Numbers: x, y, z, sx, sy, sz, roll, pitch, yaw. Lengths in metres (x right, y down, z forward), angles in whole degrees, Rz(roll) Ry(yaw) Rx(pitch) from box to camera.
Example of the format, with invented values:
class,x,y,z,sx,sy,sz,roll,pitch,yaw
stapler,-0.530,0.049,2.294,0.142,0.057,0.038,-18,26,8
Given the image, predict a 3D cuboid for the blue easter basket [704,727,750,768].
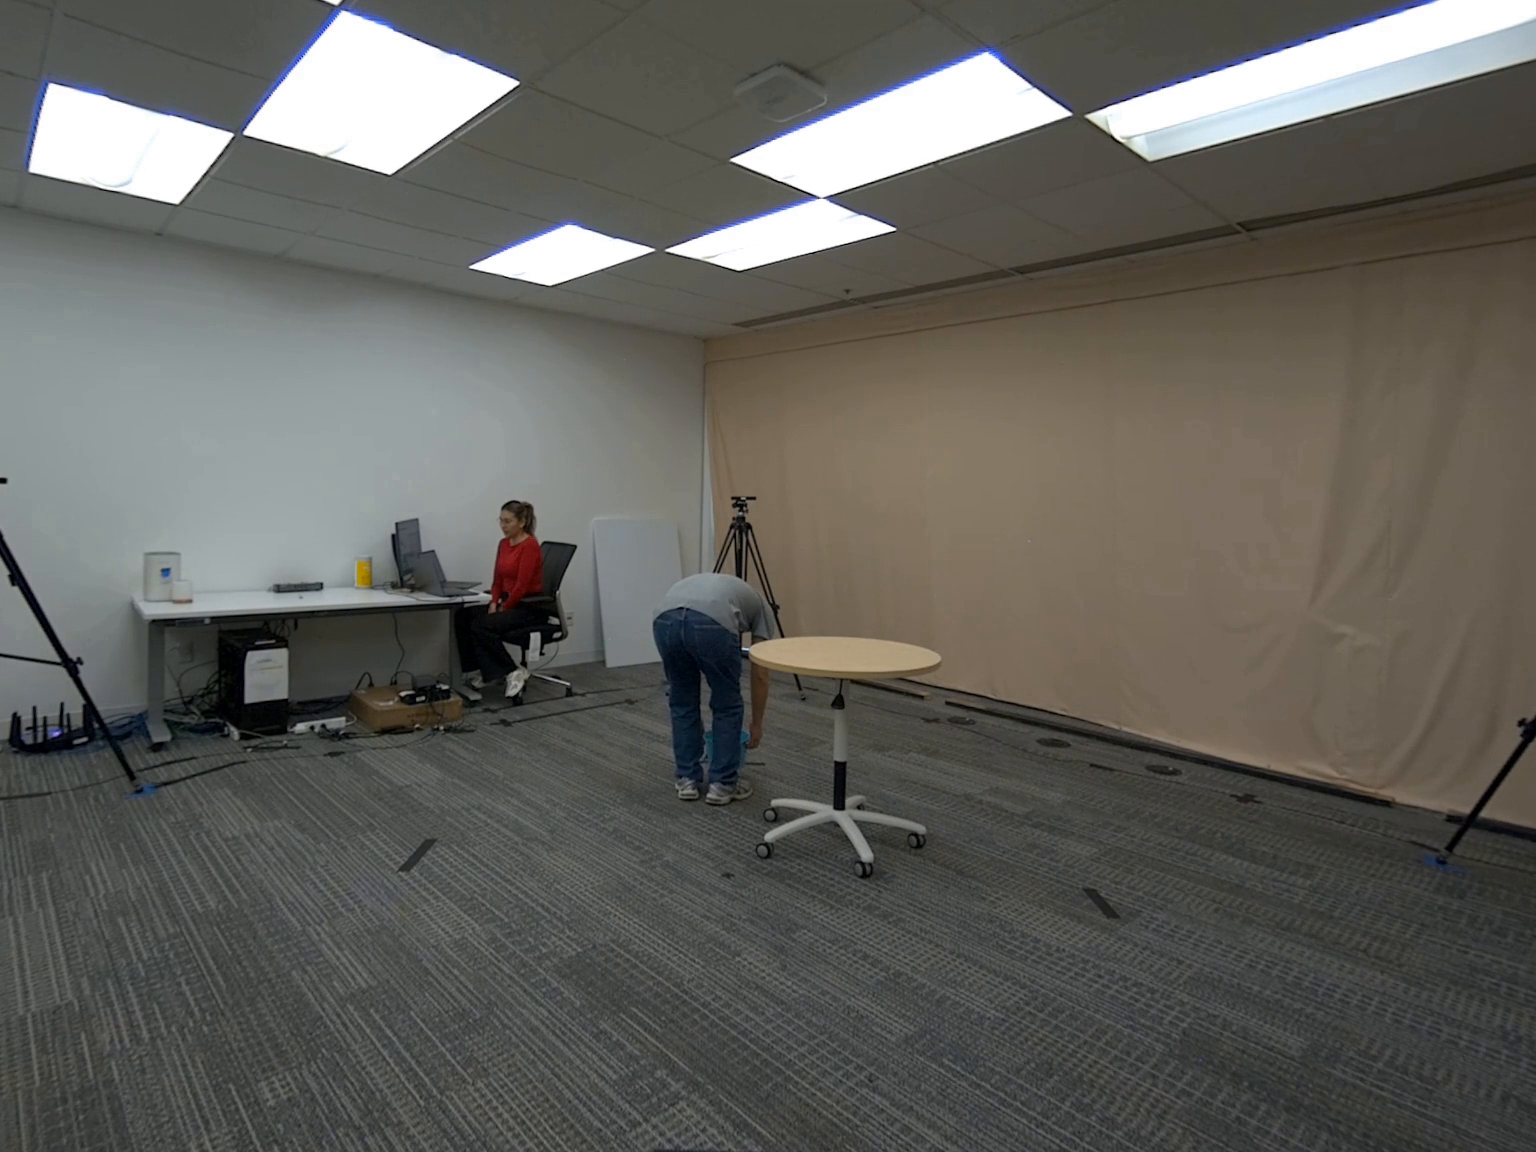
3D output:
class,x,y,z,sx,sy,sz,roll,pitch,yaw
blue easter basket,-0.227,0.869,4.200,0.243,0.155,0.245,0,8,-1
